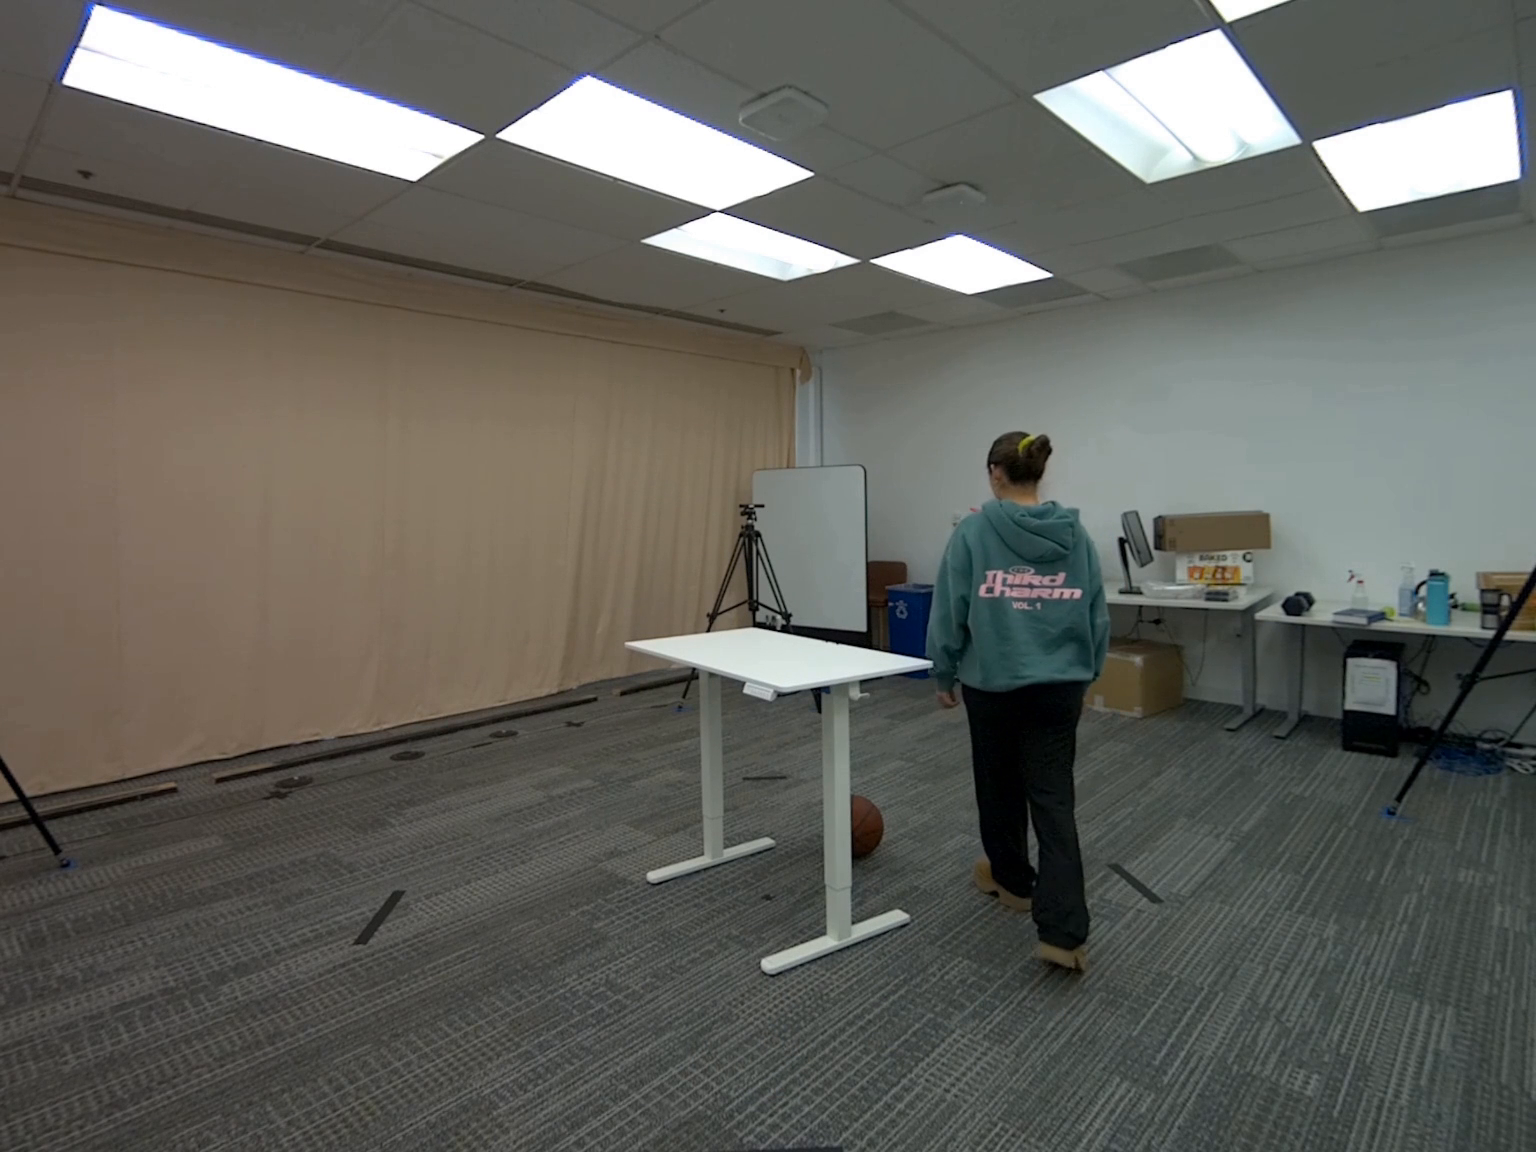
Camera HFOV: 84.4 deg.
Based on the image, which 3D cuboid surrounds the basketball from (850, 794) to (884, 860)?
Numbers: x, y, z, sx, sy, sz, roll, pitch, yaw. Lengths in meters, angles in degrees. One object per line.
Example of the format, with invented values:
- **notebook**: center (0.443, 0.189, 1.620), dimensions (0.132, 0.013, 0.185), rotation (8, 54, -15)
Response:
- **basketball**: center (0.349, 0.989, 3.326), dimensions (0.236, 0.235, 0.237), rotation (-1, 4, -2)
